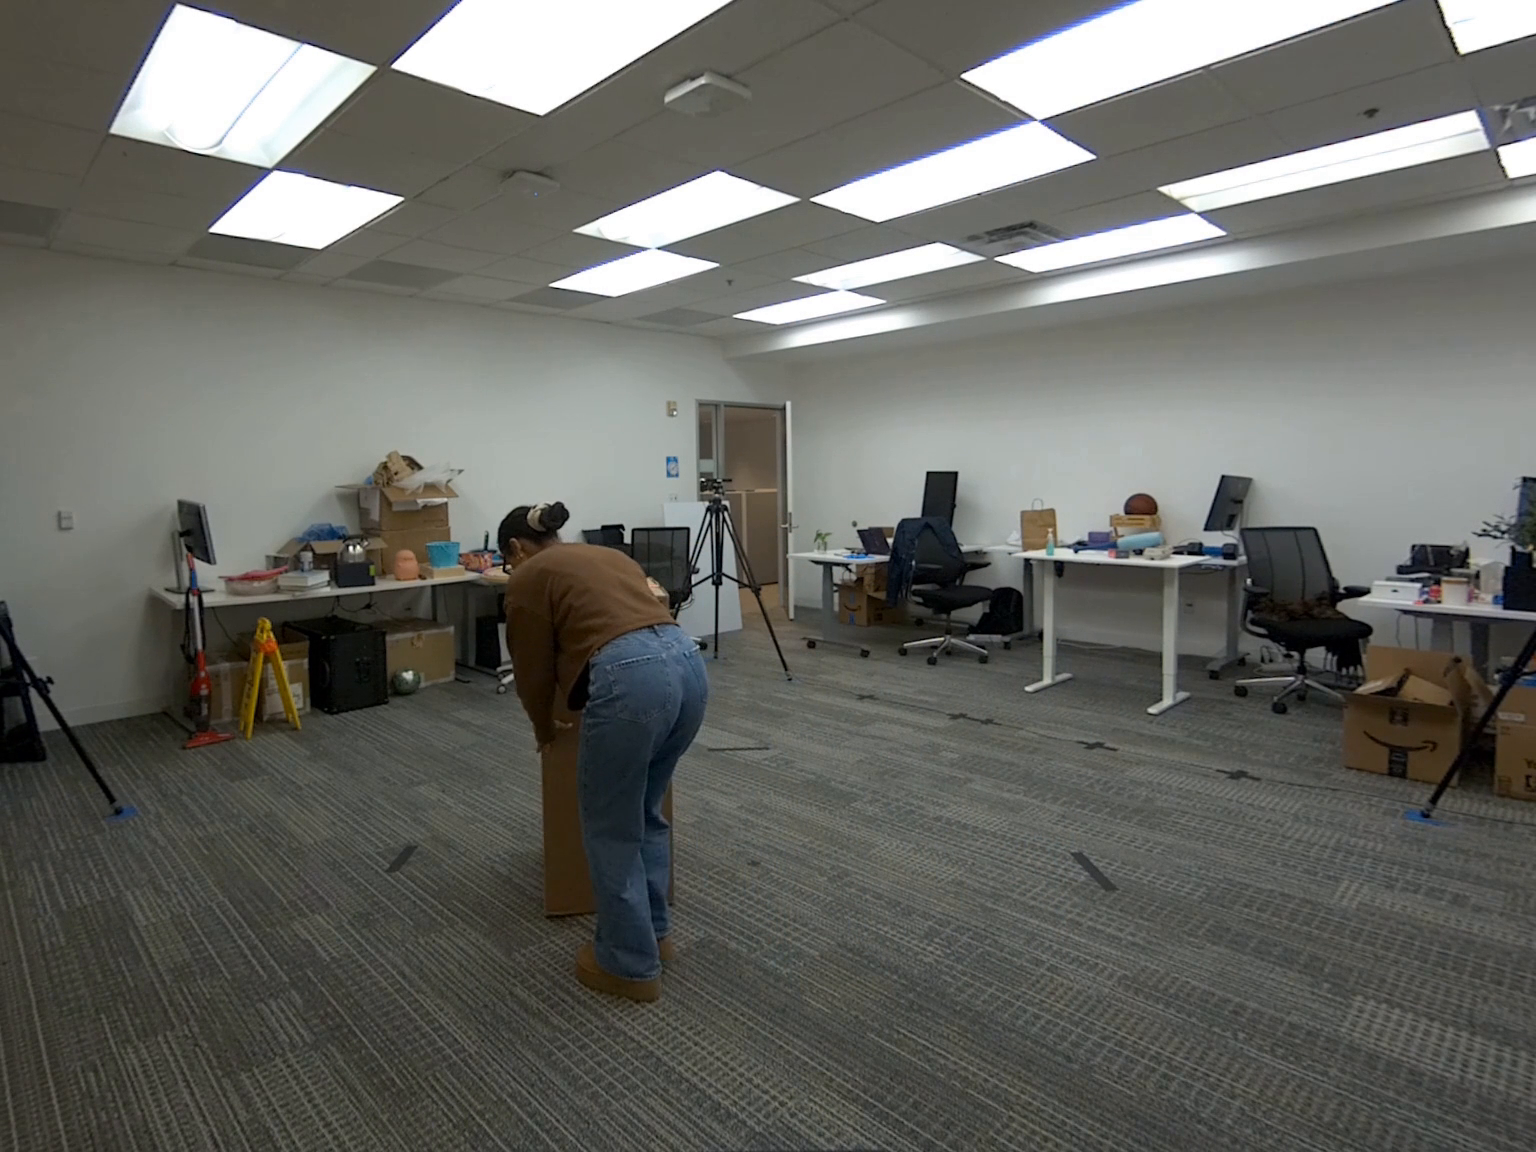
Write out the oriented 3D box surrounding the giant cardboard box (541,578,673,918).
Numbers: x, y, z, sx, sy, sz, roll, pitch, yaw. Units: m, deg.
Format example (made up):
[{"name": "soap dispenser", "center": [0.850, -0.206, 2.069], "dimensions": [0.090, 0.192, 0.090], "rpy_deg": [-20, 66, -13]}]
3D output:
[{"name": "giant cardboard box", "center": [-0.580, 0.554, 3.027], "dimensions": [0.421, 1.023, 0.586], "rpy_deg": [-2, 3, -14]}]
